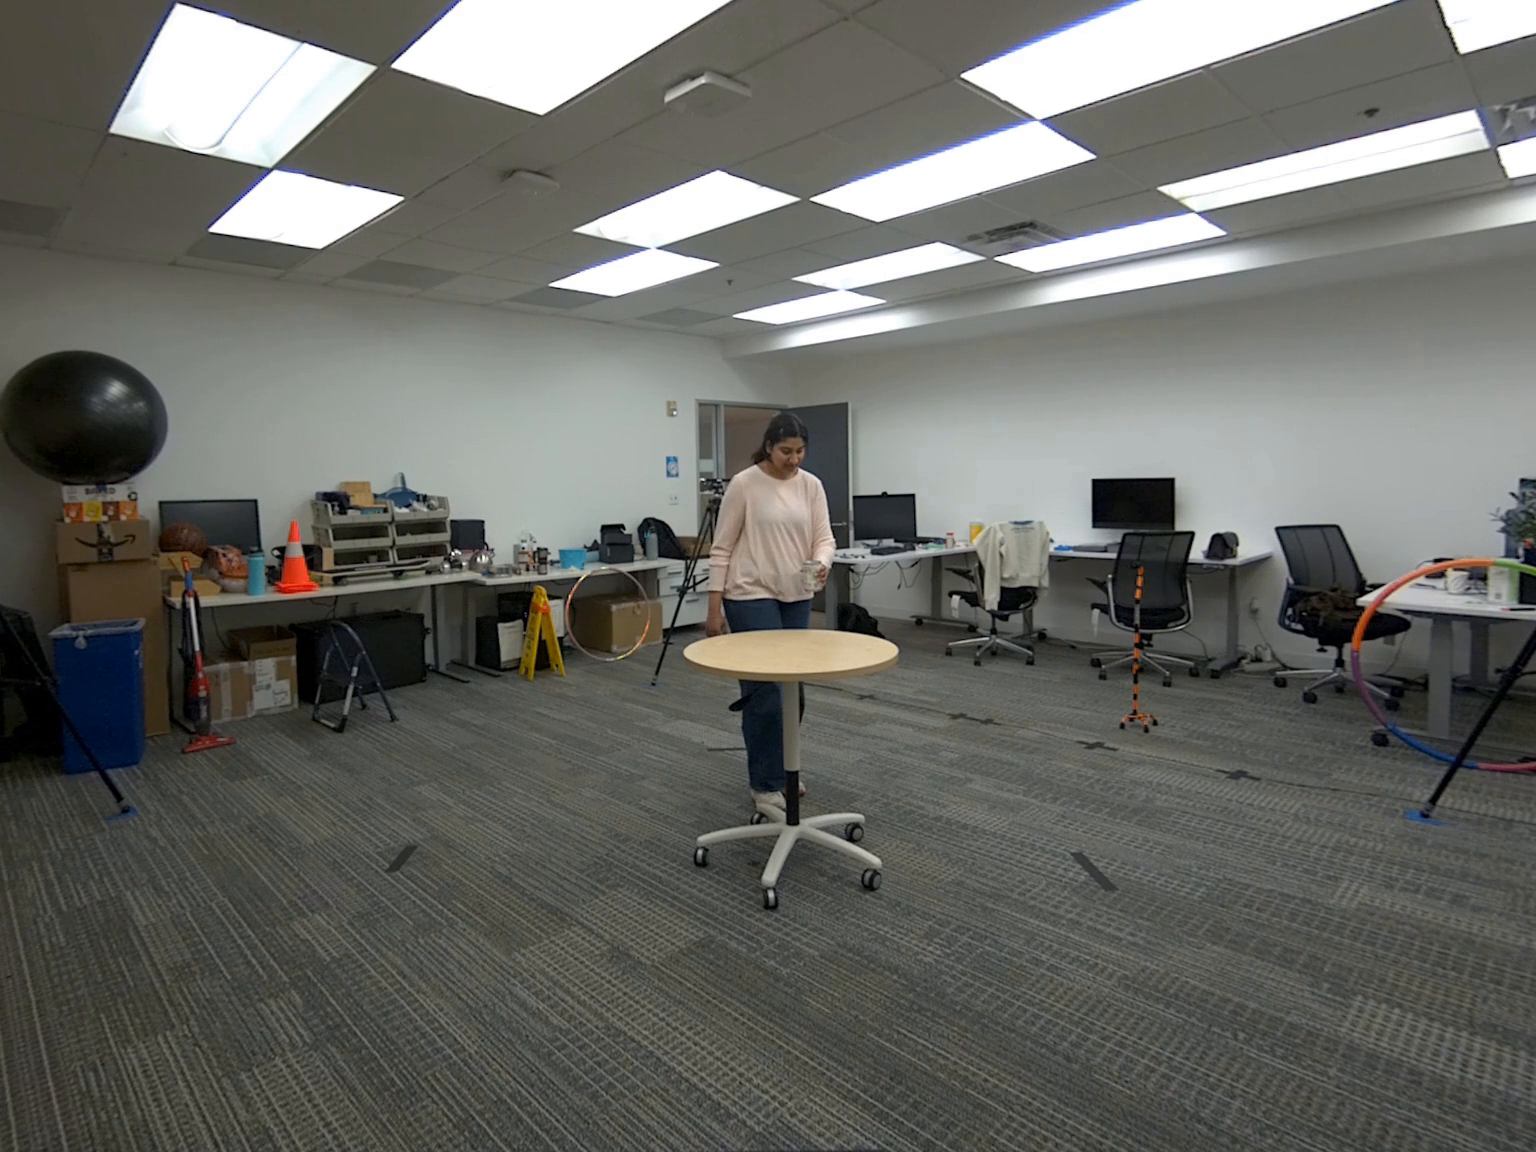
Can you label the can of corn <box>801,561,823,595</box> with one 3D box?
[{"bbox_3d":[0.181,0.000,3.409,0.074,0.110,0.075,-2,9,-1],"label":"can of corn"}]
